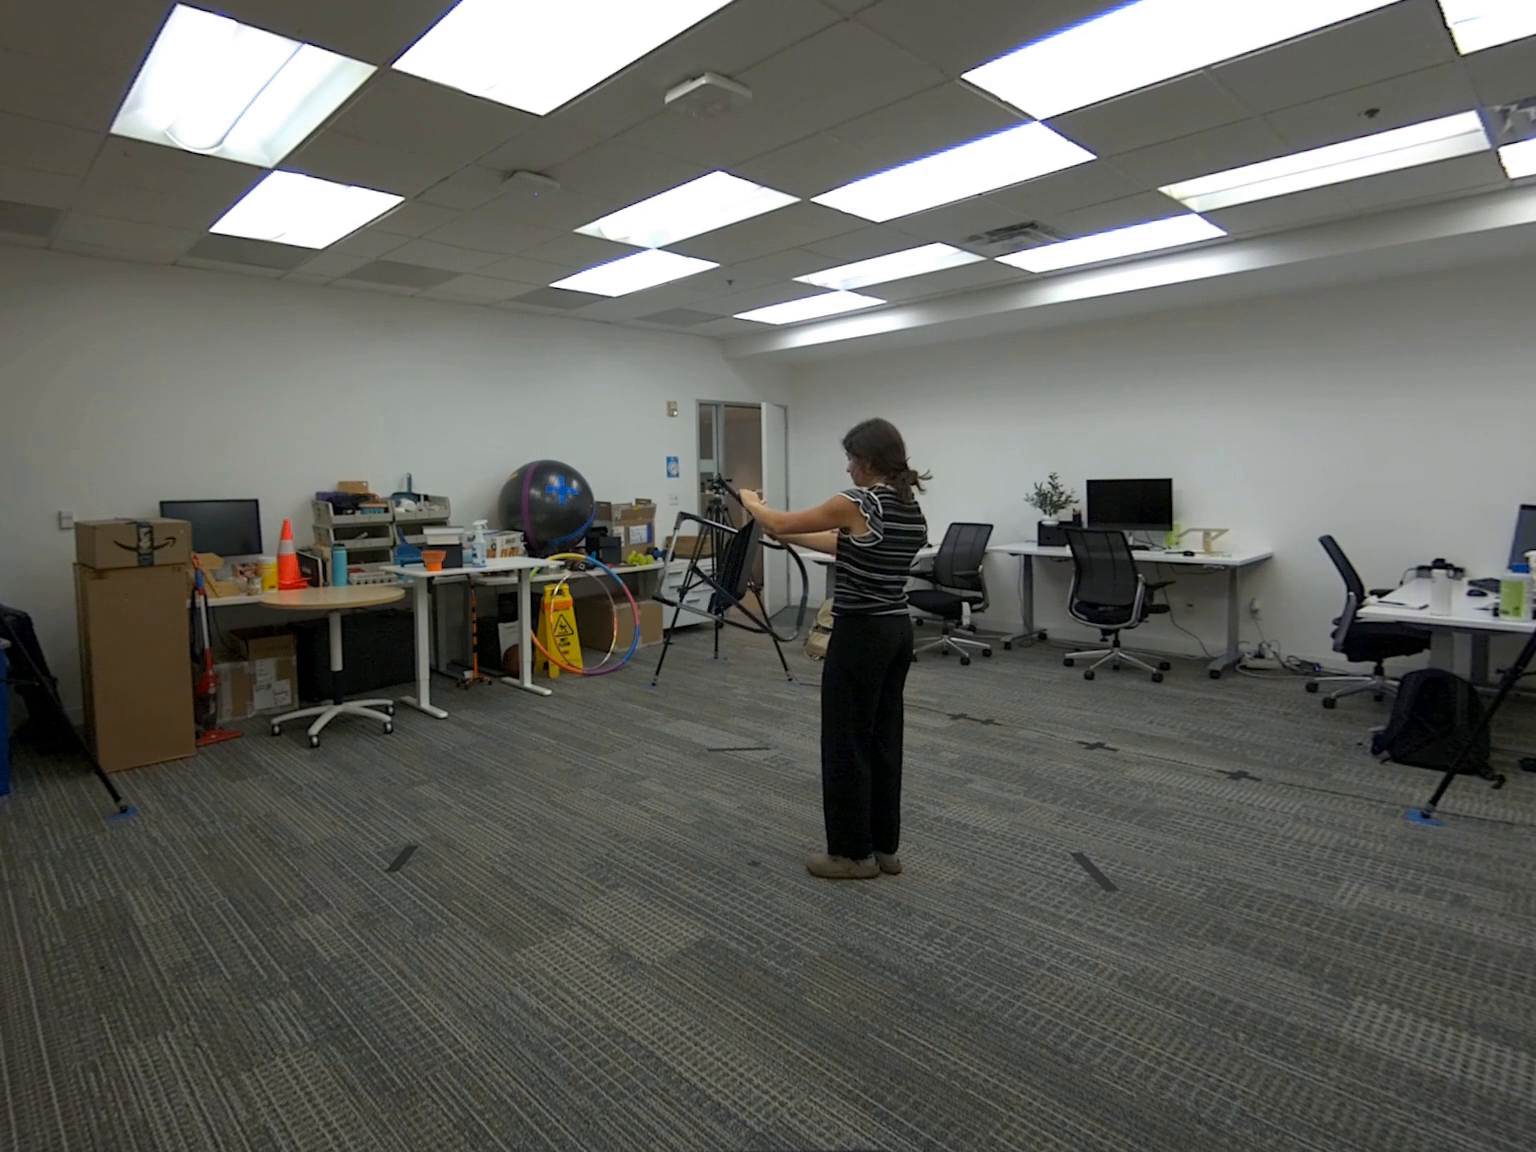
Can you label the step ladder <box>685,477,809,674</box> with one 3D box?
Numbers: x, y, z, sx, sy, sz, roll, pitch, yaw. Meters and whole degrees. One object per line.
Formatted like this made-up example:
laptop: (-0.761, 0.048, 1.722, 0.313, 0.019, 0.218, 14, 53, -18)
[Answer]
step ladder: (-0.069, -0.015, 3.271, 0.591, 0.438, 0.352, 28, -35, -21)
